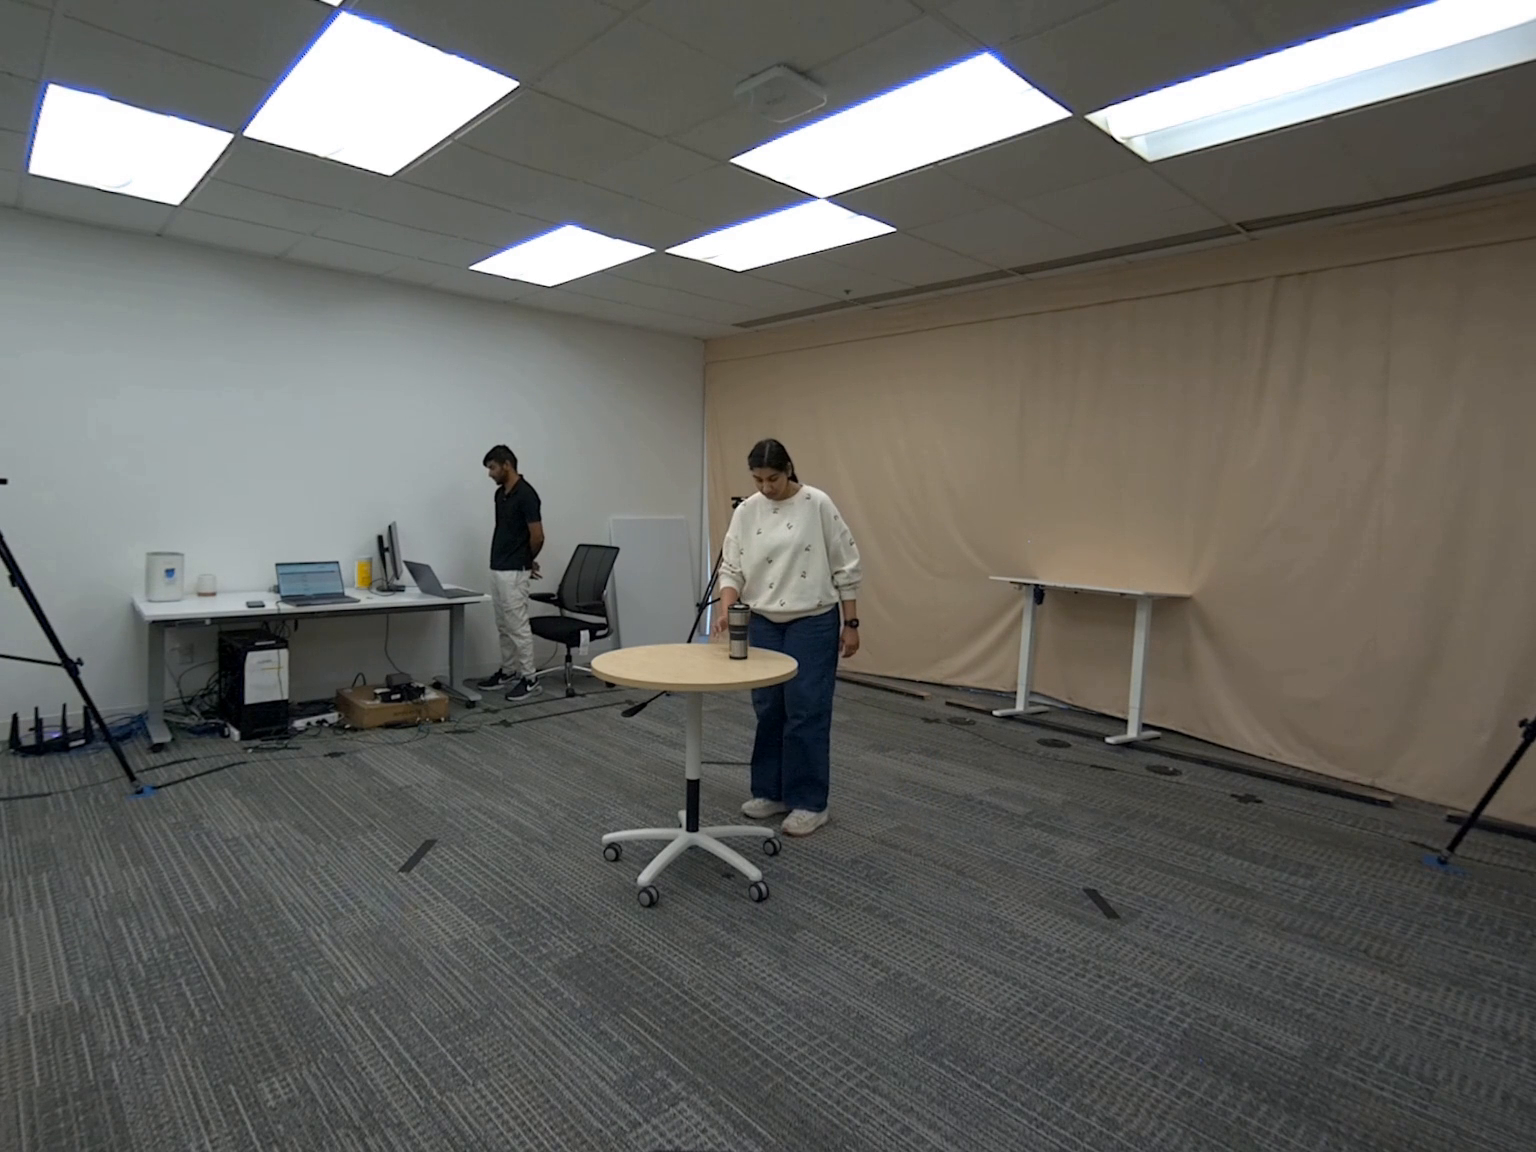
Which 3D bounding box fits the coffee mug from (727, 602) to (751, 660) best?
[{"bbox_3d":[-0.128,0.217,3.181,0.087,0.203,0.122,5,-3,-6],"label":"coffee mug"}]
